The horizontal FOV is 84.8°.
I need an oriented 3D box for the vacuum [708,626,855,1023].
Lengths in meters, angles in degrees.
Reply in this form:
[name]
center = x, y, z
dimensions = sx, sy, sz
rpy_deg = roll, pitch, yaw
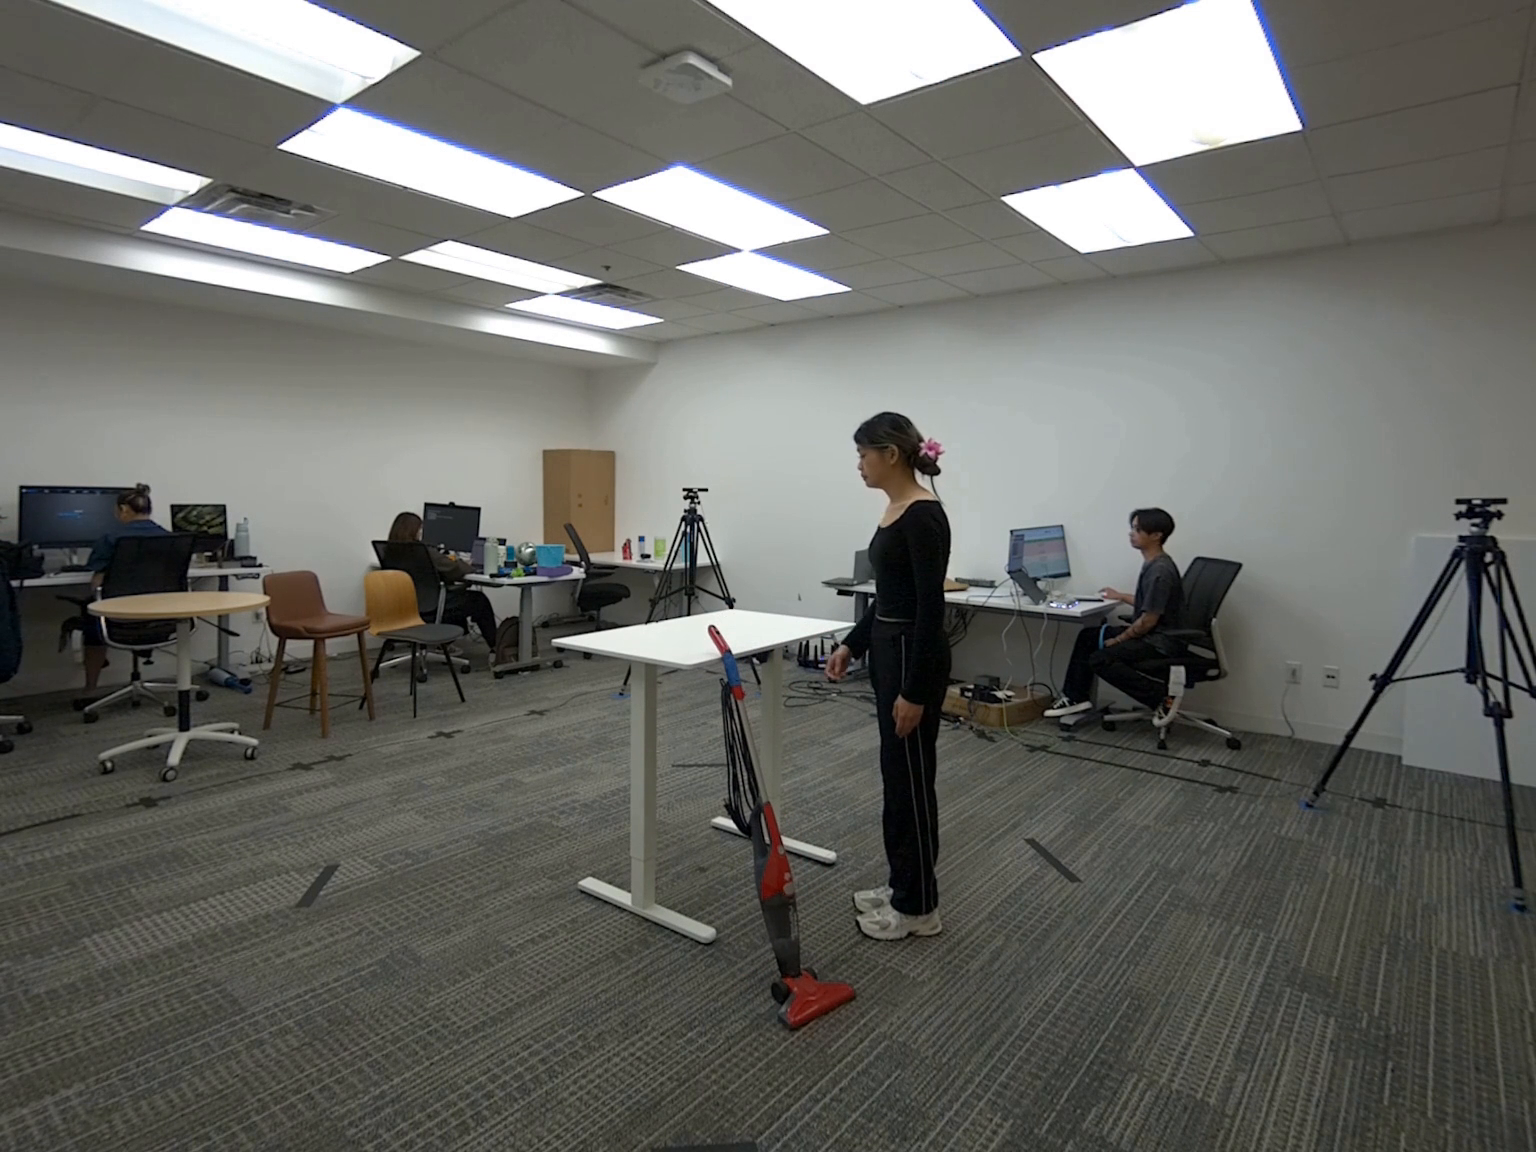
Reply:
[vacuum]
center = -0.046, 0.662, 2.455
dimensions = 0.245, 1.069, 0.145
rpy_deg = -5, -20, -41
